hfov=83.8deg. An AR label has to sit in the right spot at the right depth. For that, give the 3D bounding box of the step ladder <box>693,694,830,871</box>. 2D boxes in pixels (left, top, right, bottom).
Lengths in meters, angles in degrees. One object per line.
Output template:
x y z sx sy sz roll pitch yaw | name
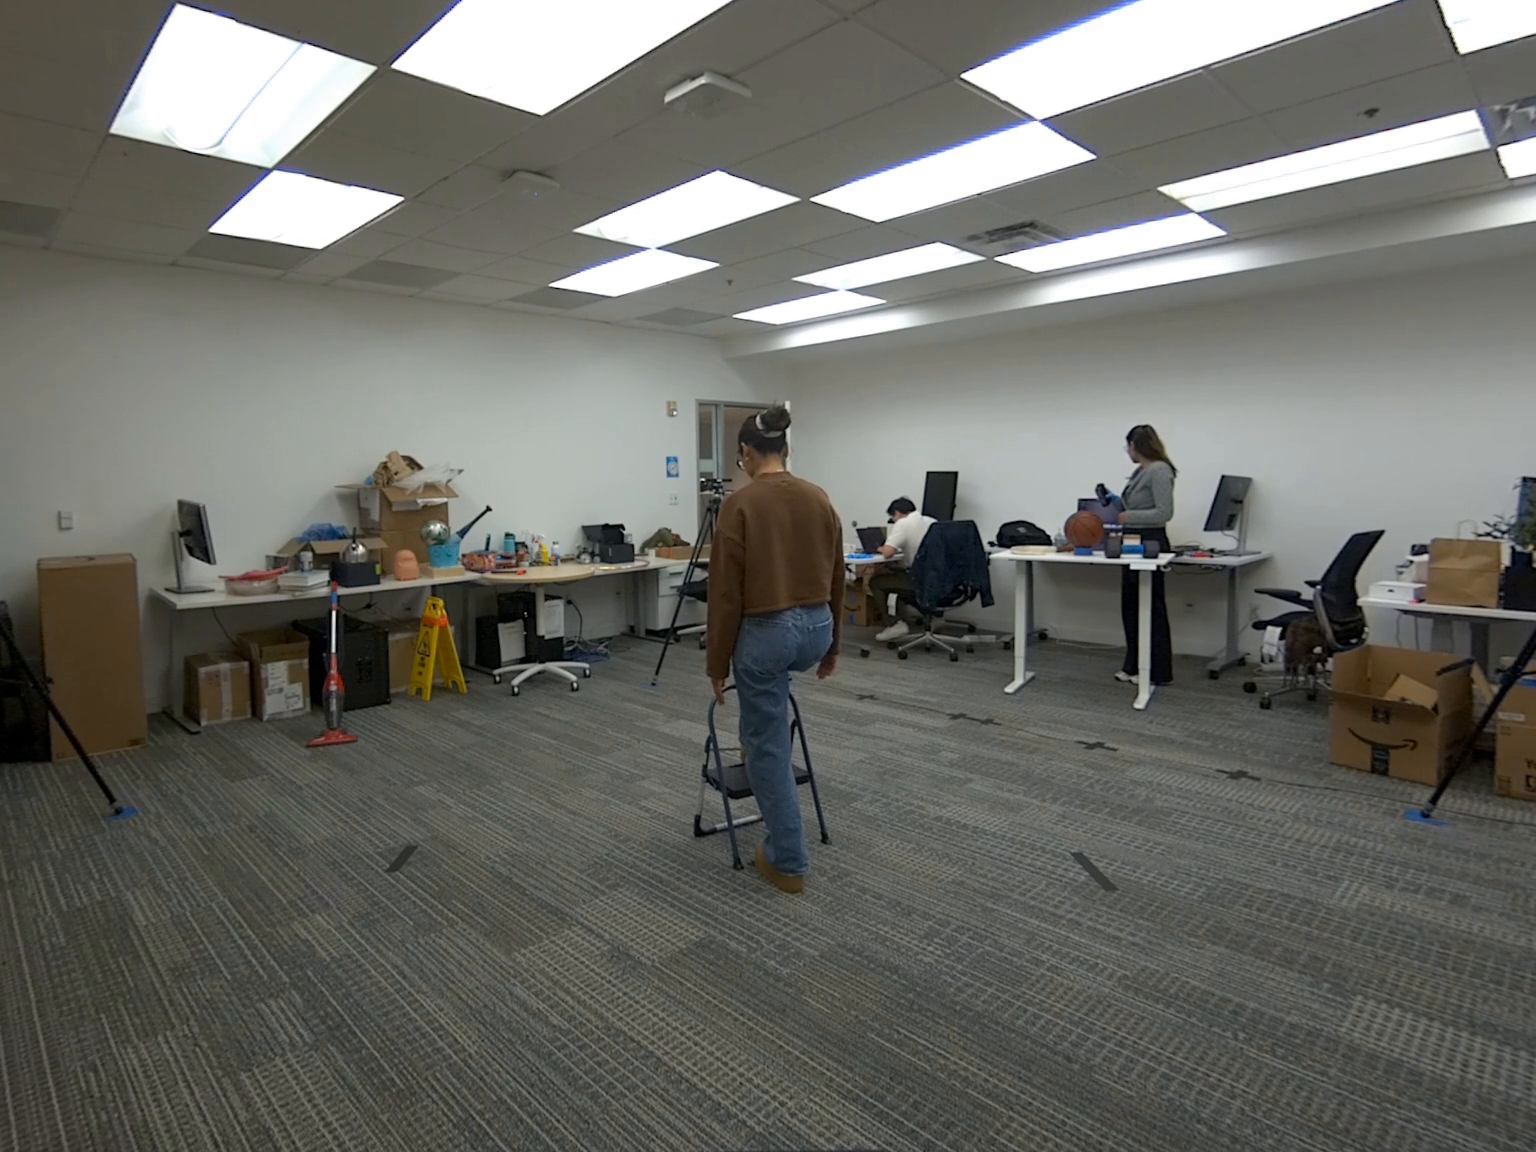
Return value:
-0.030 0.719 3.291 0.420 0.604 0.359 -4 5 -33 | step ladder
